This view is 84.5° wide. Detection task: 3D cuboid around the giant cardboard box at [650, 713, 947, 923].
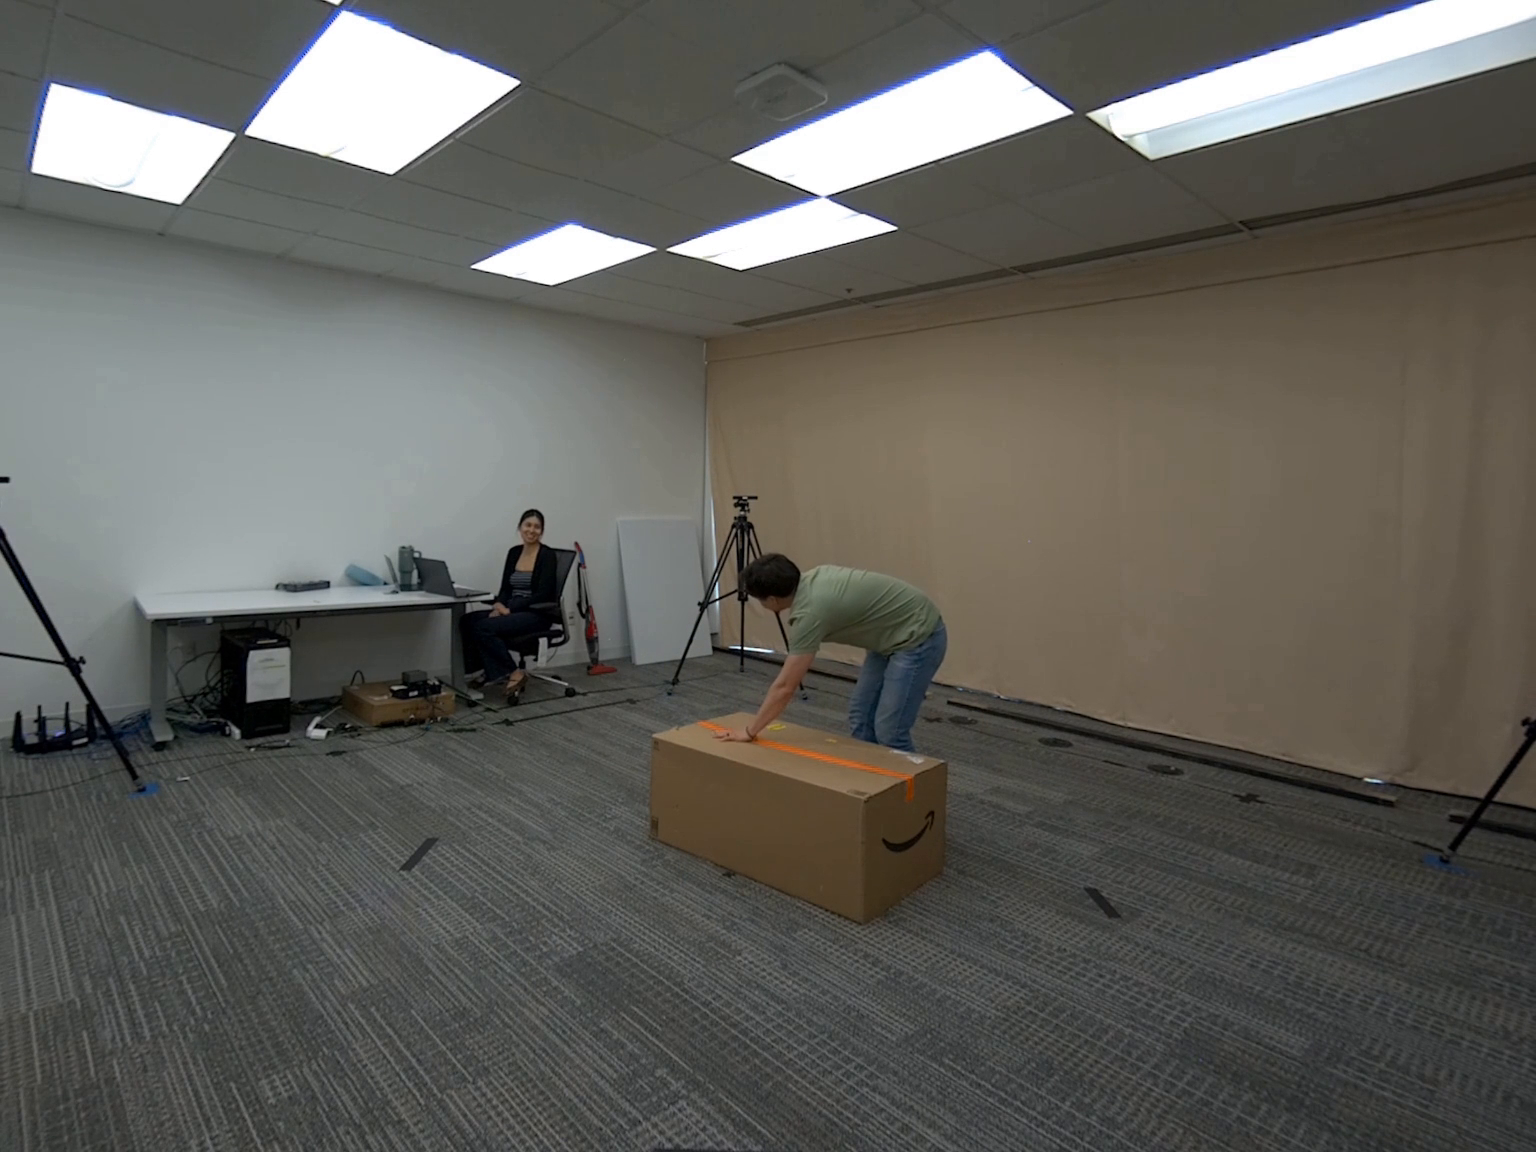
[{"bbox_3d":[0.088,0.881,3.285,1.052,0.425,0.564,5,5,40],"label":"giant cardboard box"}]
